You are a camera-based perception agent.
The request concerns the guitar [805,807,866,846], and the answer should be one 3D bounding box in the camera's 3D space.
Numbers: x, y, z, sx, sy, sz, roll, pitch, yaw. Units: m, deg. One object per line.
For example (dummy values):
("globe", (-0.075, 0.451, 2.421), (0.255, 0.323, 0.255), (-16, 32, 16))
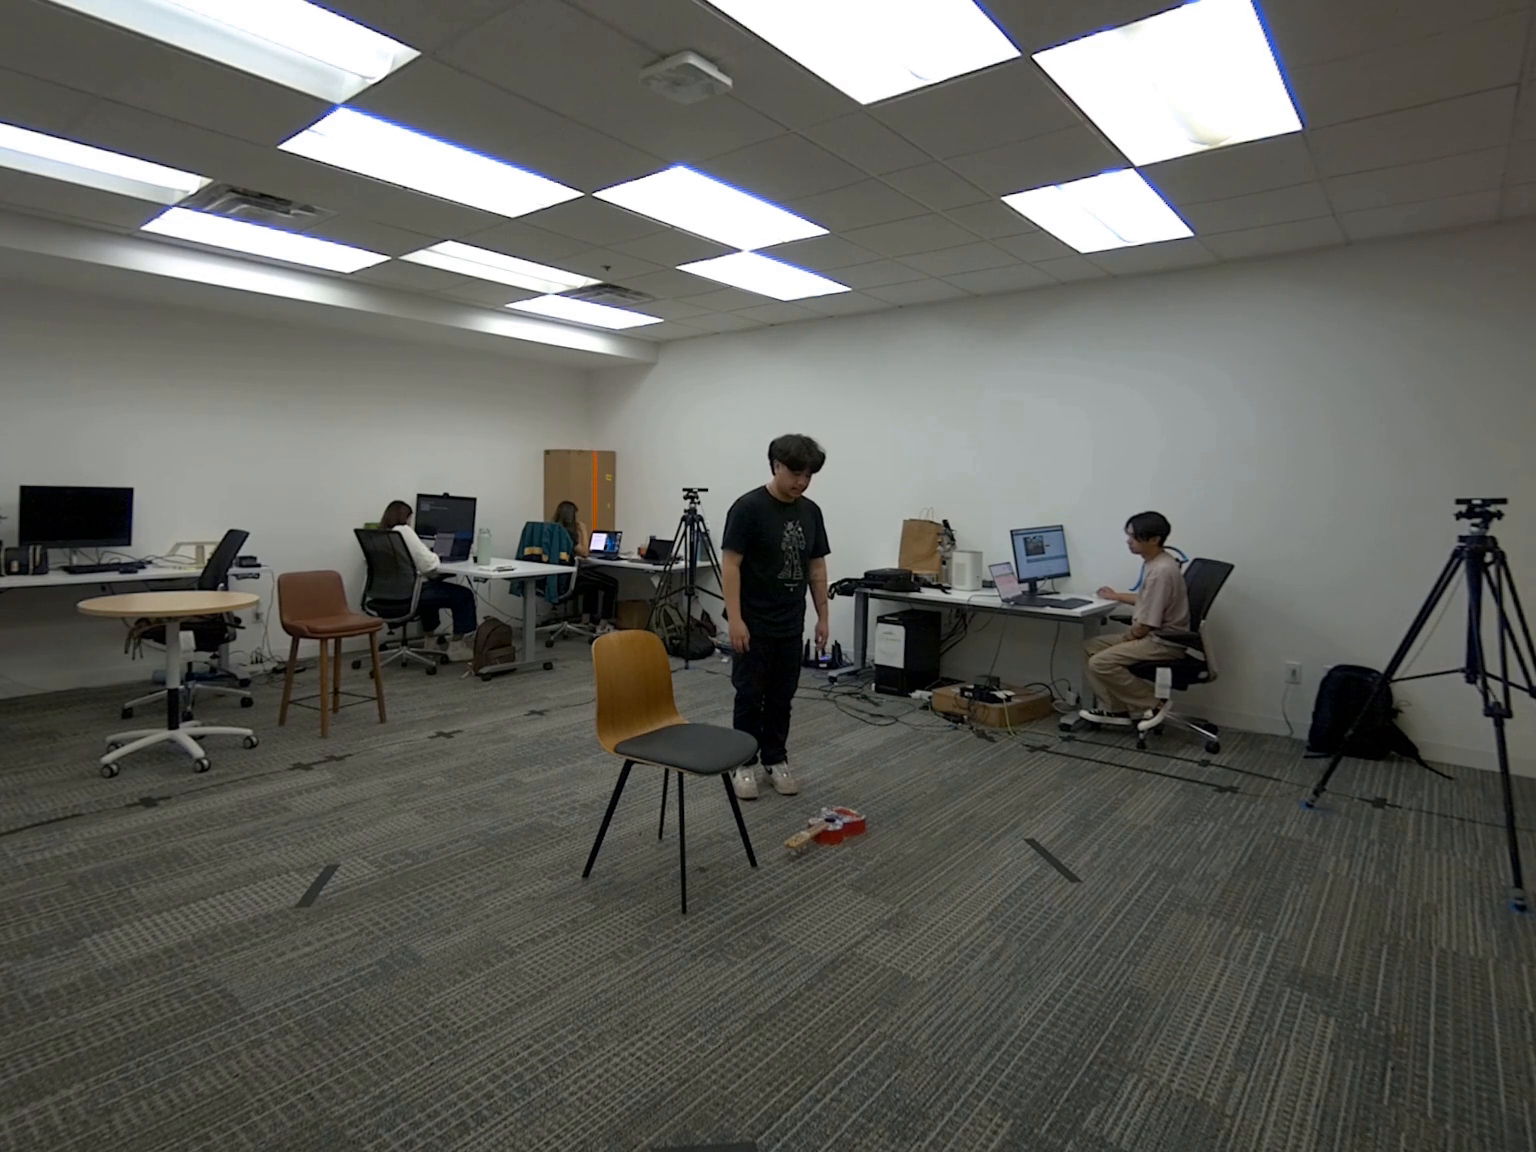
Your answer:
("guitar", (0.187, 1.017, 3.410), (0.200, 0.070, 0.483), (7, 7, 43))
